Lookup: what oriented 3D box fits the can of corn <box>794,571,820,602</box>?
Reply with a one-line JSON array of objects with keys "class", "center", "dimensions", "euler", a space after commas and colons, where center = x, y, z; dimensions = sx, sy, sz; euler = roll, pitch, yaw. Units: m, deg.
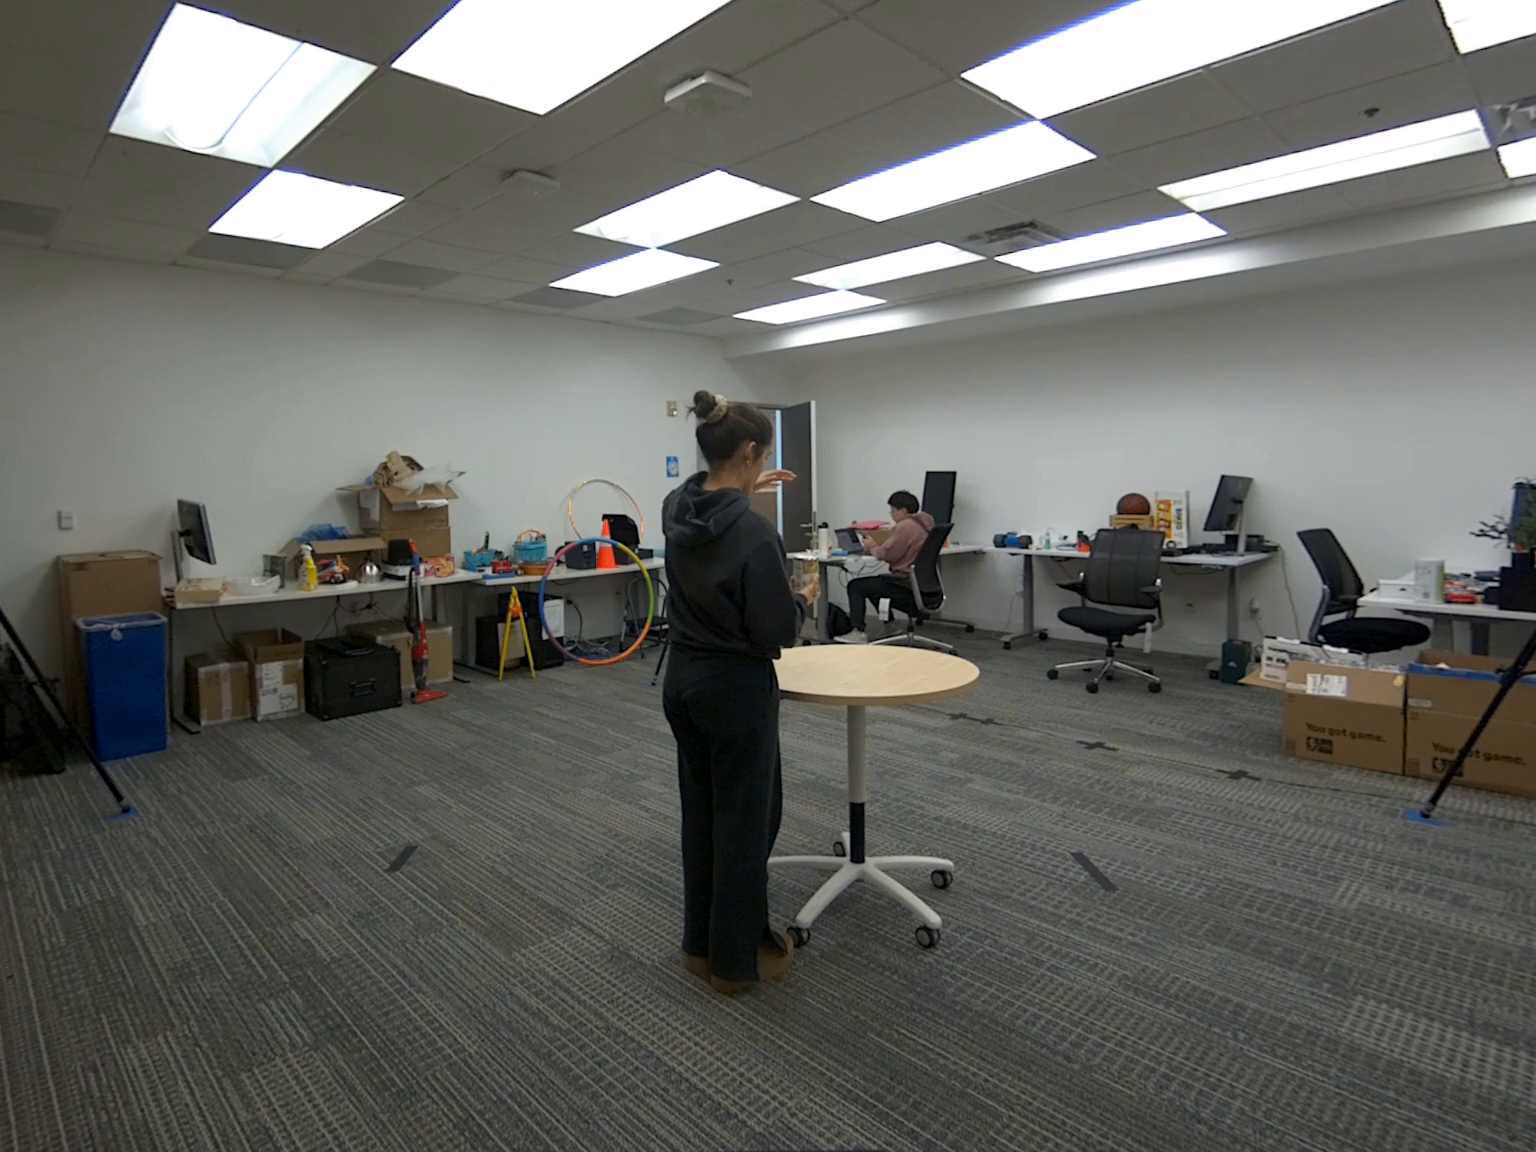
[{"class": "can of corn", "center": [0.112, -0.012, 2.522], "dimensions": [0.074, 0.110, 0.075], "euler": [-1, 7, -2]}]
